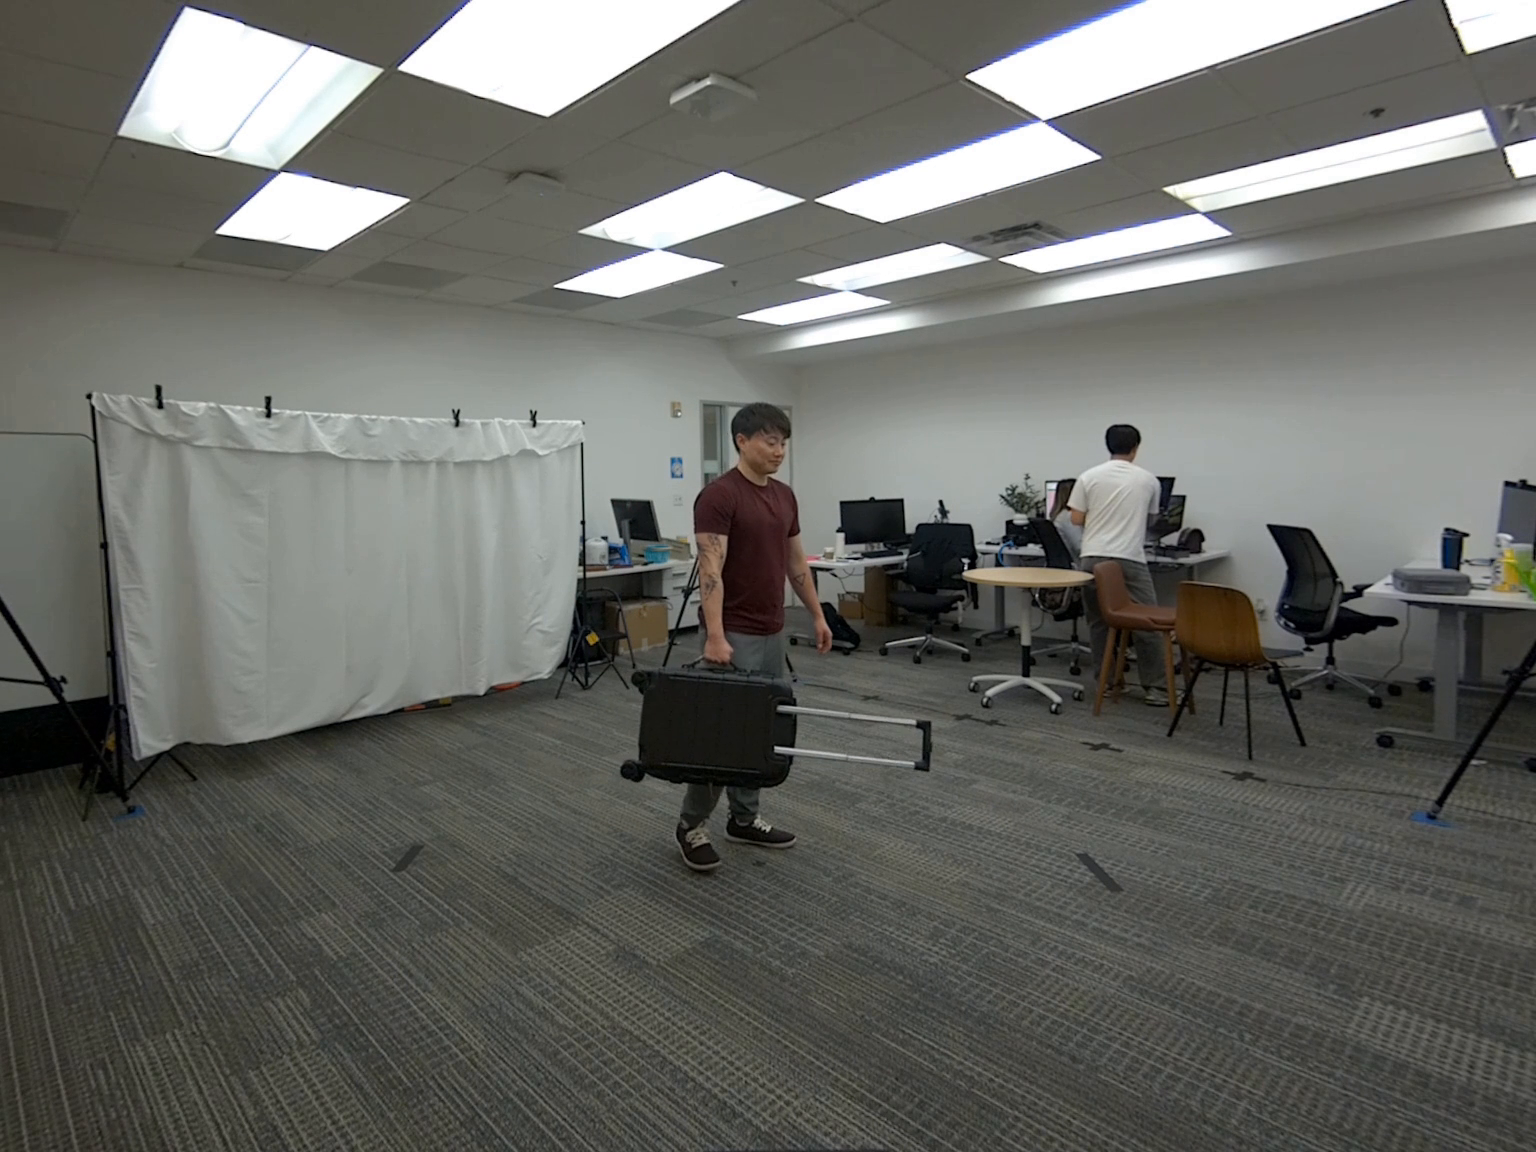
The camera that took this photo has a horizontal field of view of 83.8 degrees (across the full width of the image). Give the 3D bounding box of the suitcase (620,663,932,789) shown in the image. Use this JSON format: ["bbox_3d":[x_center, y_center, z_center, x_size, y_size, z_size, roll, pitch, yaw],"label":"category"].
[{"bbox_3d":[0.021,0.515,2.855,0.981,0.388,0.253,3,-13,2],"label":"suitcase"}]
